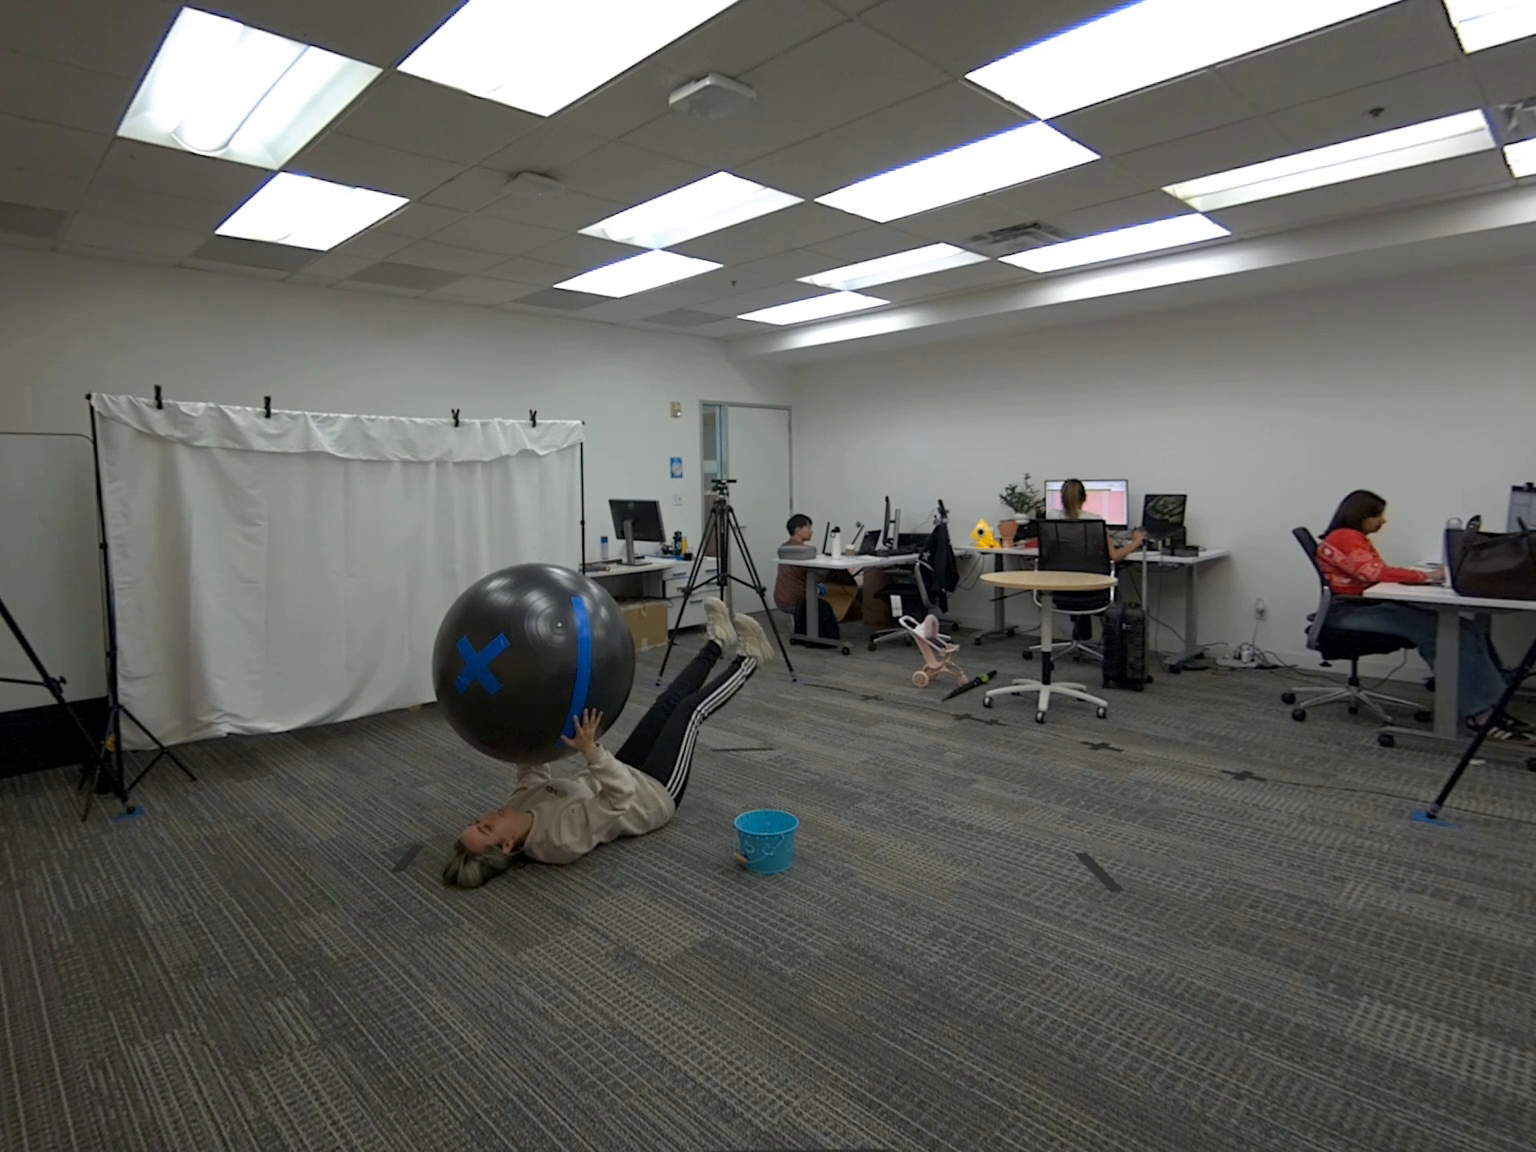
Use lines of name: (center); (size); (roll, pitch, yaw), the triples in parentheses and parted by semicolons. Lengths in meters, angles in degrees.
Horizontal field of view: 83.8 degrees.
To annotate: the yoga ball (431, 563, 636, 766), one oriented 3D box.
yoga ball: (-0.895, 0.331, 3.267); (0.757, 0.755, 0.762); (-1, 5, -2)
